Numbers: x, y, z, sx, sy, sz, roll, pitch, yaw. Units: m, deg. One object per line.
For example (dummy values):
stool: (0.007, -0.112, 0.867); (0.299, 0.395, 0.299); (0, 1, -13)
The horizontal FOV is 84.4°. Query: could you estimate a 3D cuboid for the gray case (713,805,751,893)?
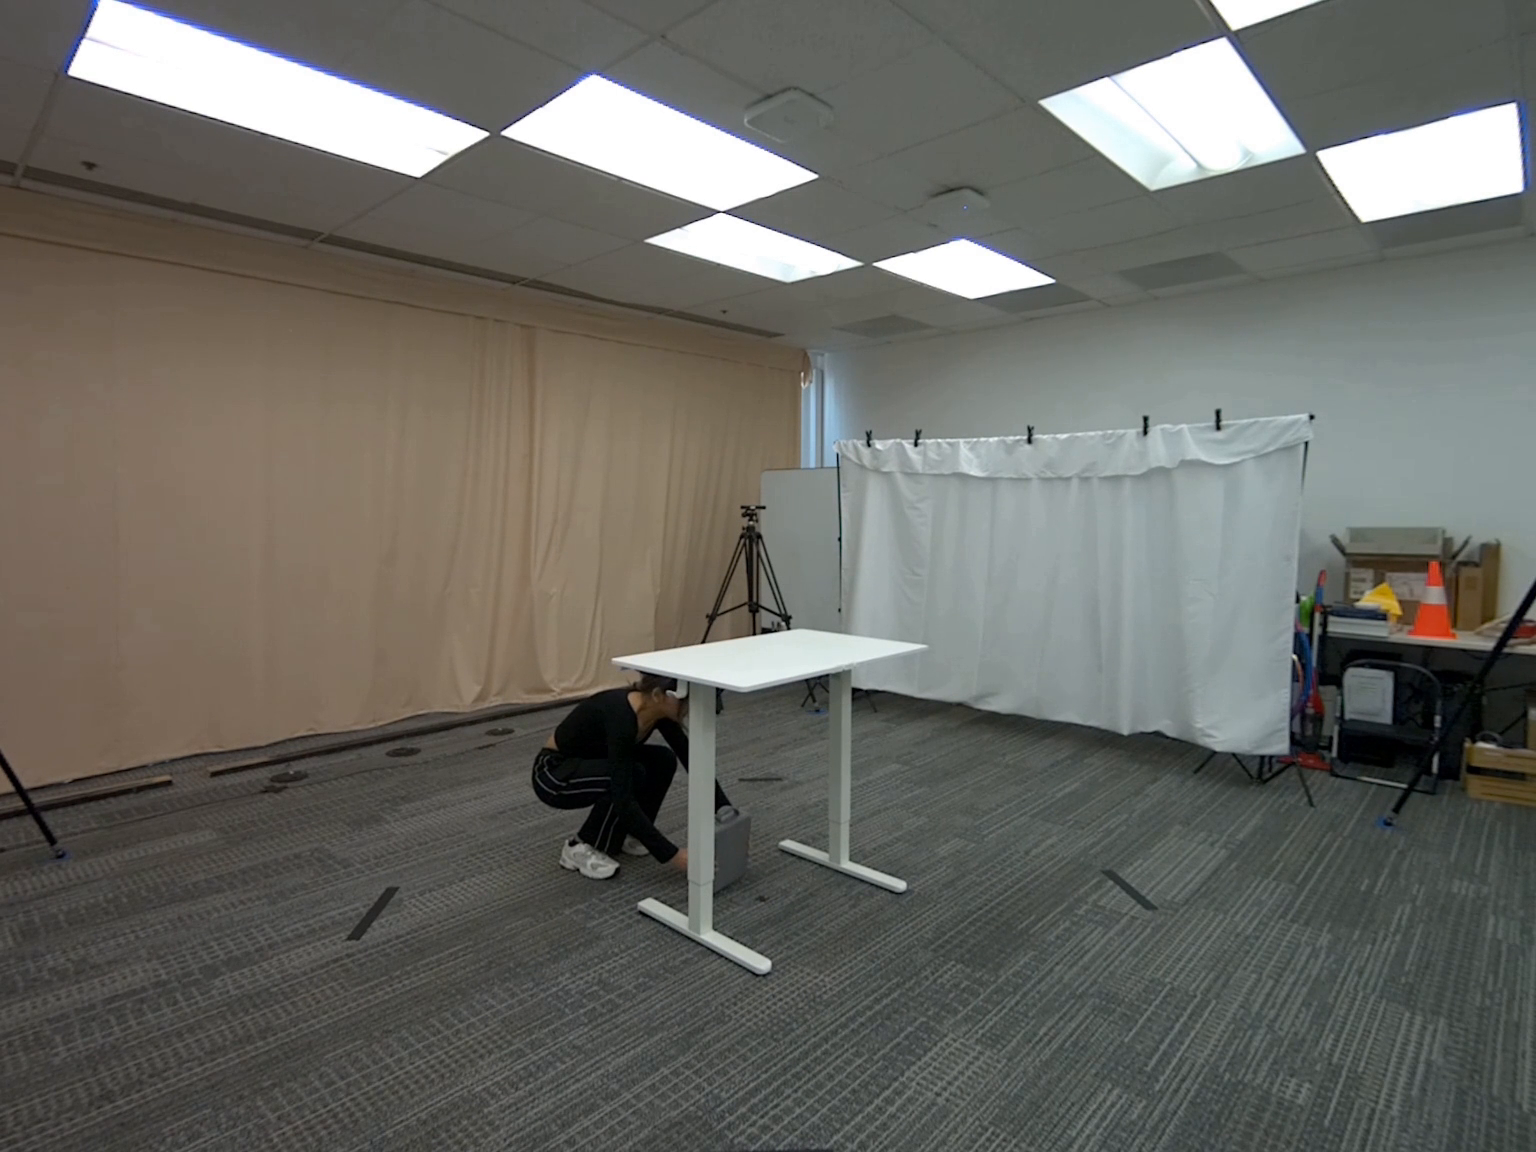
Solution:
gray case: (-0.163, 1.005, 3.088); (0.108, 0.259, 0.249); (12, 10, 33)
